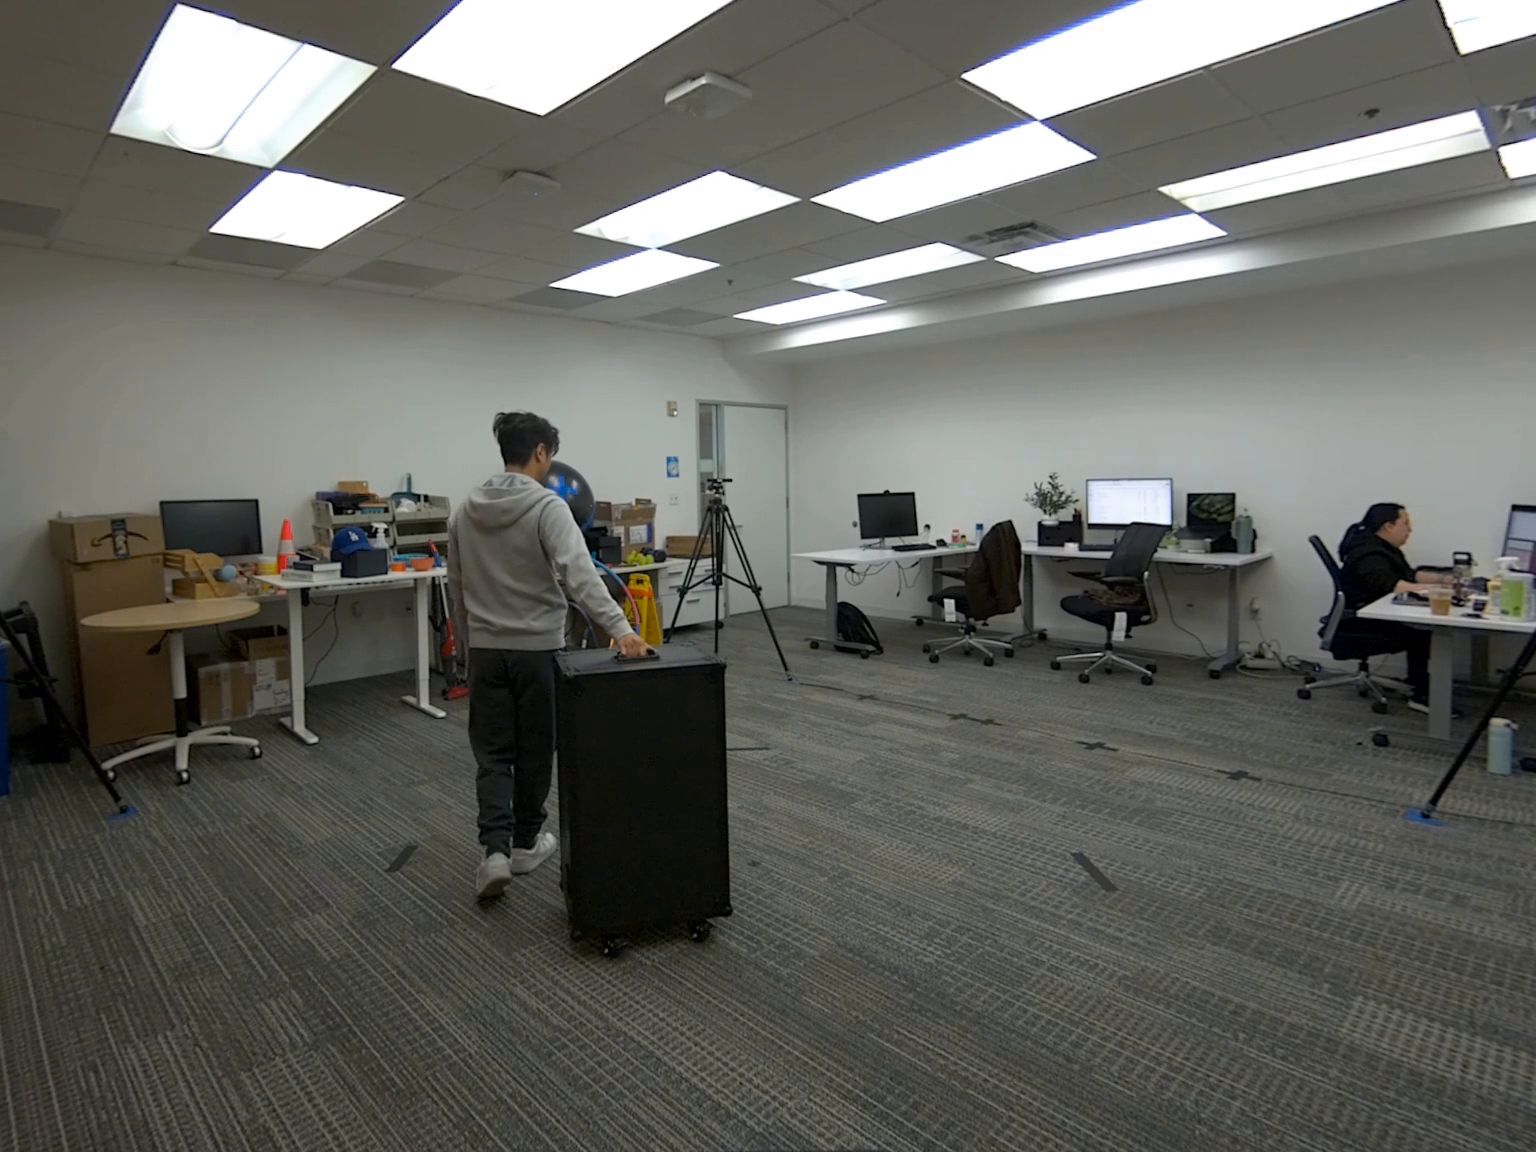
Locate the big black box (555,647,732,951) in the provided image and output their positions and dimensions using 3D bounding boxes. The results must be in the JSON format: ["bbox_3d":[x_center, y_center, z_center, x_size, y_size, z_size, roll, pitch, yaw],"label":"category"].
[{"bbox_3d":[-0.405,0.676,2.681,0.513,0.859,0.403,-2,3,-17],"label":"big black box"}]
